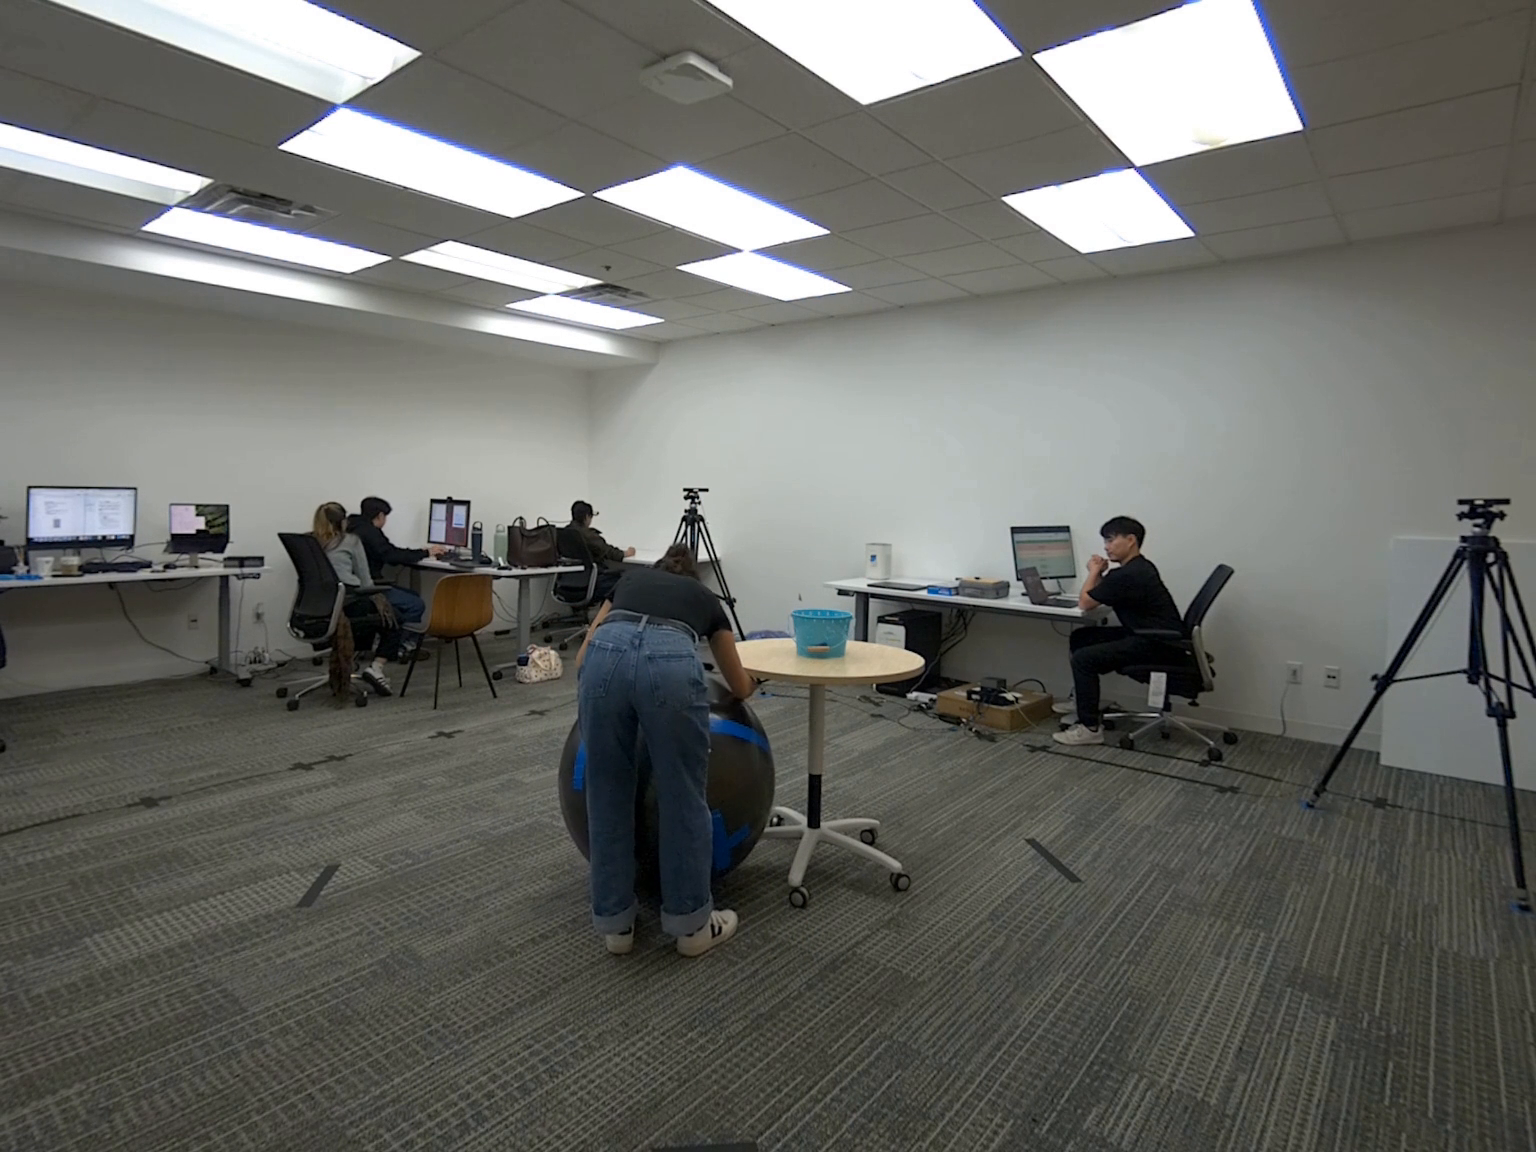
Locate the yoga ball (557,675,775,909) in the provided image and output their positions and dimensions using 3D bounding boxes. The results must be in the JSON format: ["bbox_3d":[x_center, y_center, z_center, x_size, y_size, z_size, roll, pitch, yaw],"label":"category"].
[{"bbox_3d":[-0.368,0.713,2.991,0.757,0.755,0.762,1,4,-2],"label":"yoga ball"}]
